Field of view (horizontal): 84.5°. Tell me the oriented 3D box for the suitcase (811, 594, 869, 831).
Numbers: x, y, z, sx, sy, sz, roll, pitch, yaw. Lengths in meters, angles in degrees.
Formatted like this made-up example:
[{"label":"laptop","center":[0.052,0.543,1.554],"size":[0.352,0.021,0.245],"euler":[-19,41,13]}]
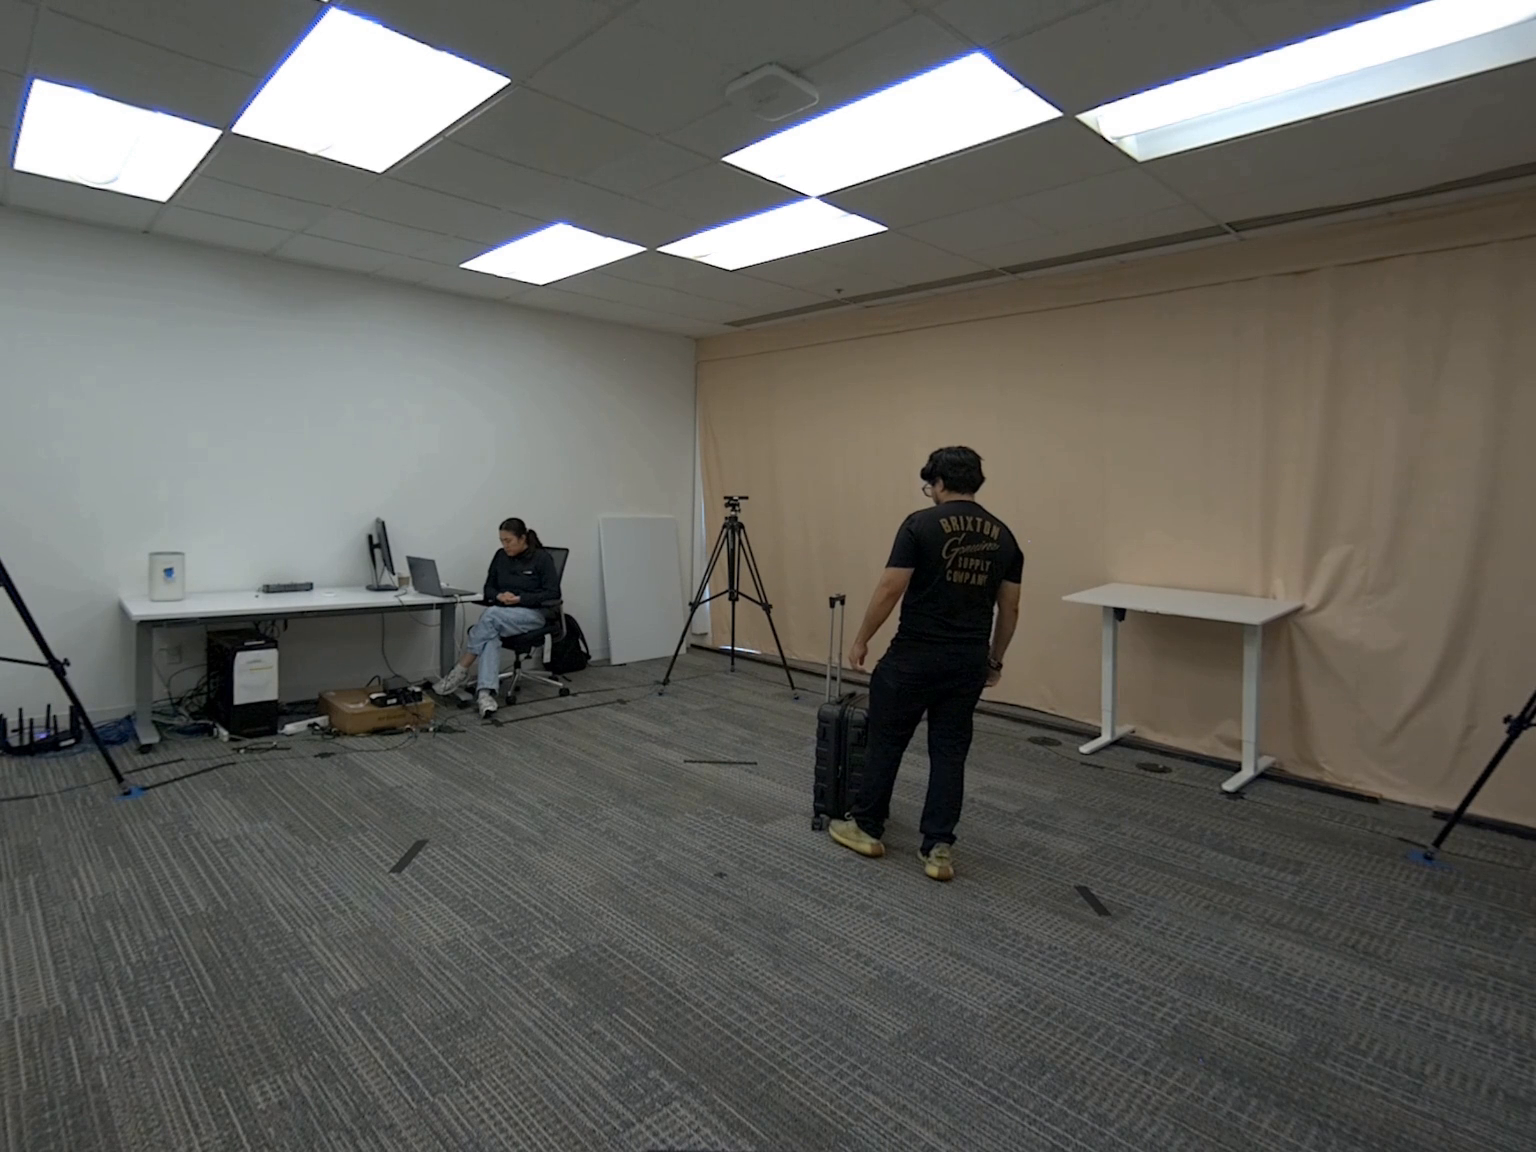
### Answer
[{"label":"suitcase","center":[0.375,0.588,3.648],"size":[0.262,0.976,0.377],"euler":[5,4,23]}]
